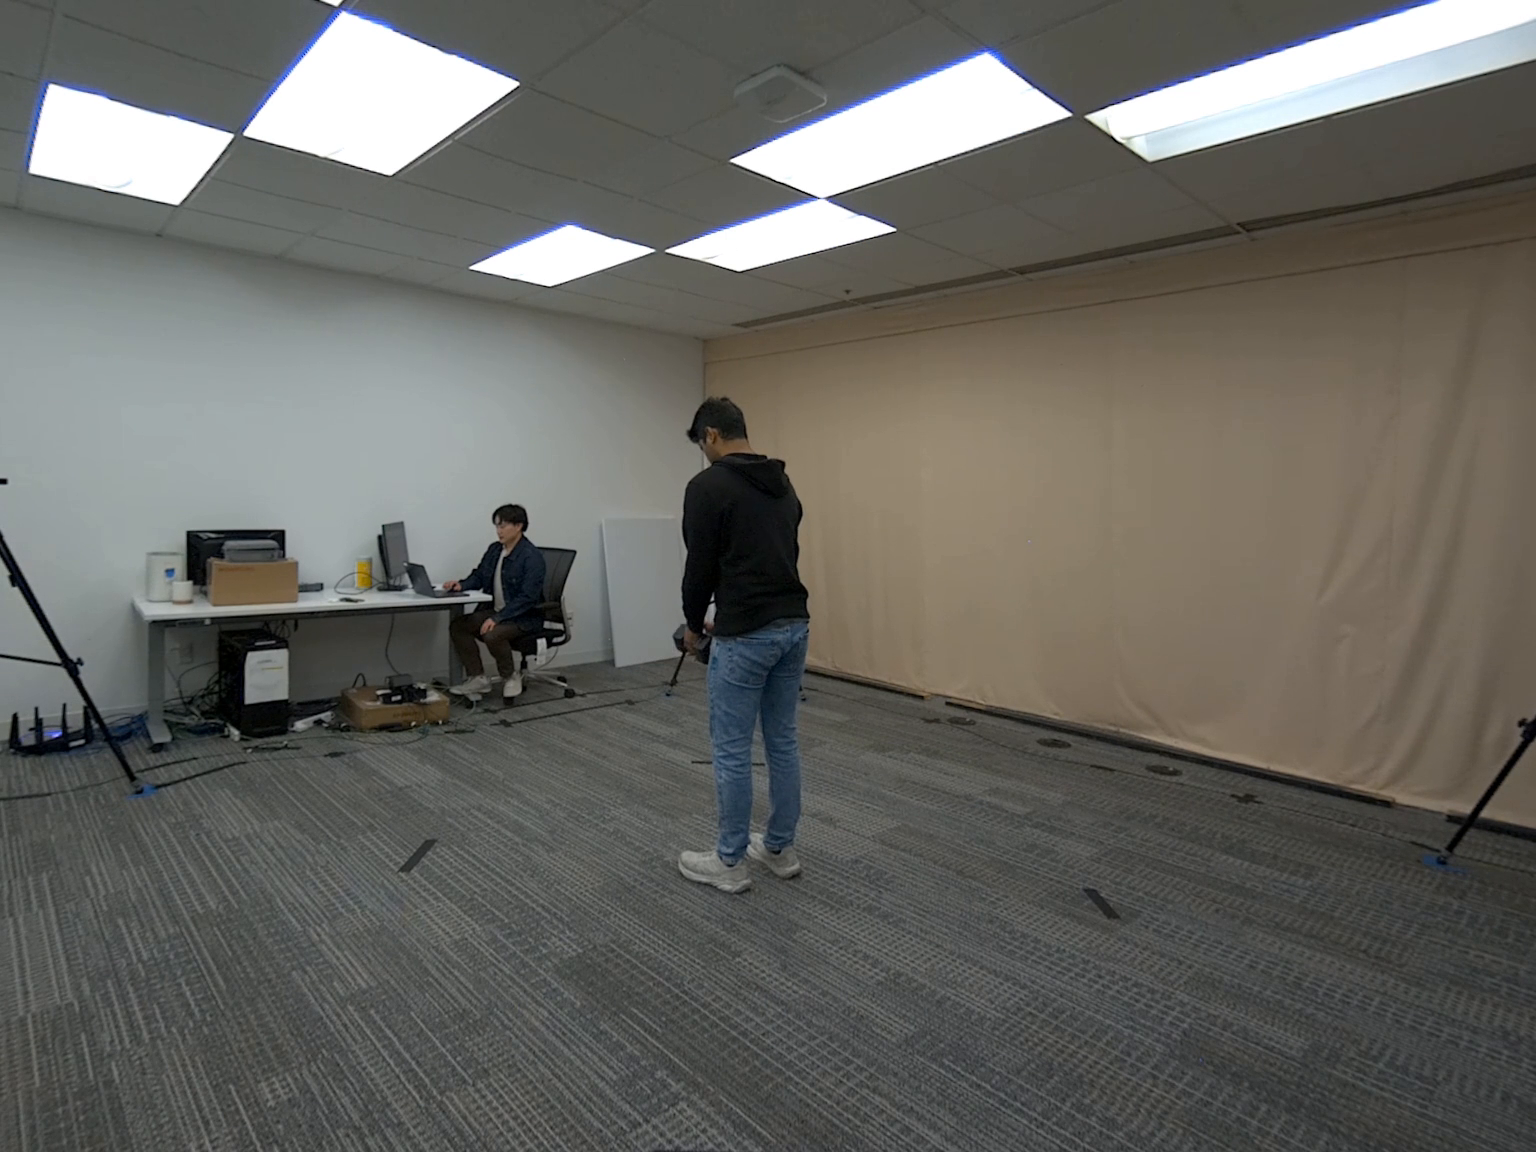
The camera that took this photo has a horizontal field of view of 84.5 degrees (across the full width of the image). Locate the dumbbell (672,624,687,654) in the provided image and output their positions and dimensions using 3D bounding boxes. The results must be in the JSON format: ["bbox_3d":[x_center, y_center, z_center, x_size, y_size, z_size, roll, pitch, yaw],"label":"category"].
[{"bbox_3d":[-0.253,0.268,3.214,0.107,0.121,0.300,-21,15,-23],"label":"dumbbell"}]
